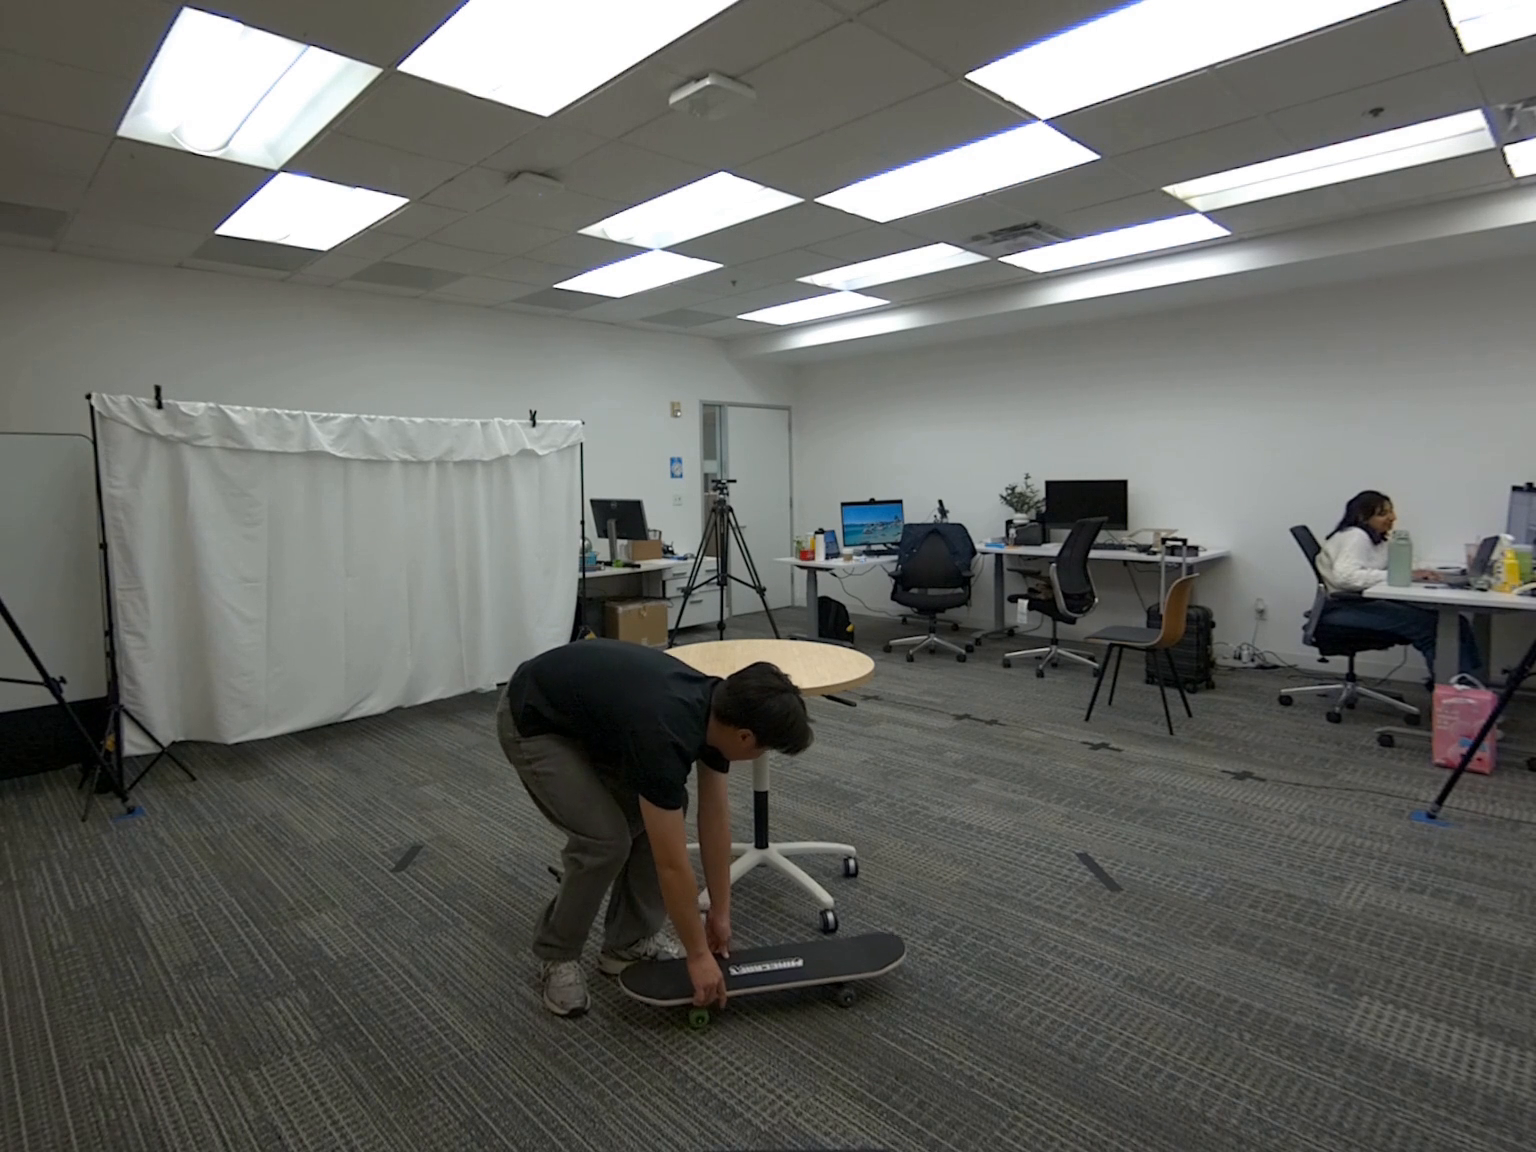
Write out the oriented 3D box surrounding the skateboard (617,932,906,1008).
[{"bbox_3d":[0.002,1.077,2.305,0.777,0.110,0.196,-3,4,-11],"label":"skateboard"}]
